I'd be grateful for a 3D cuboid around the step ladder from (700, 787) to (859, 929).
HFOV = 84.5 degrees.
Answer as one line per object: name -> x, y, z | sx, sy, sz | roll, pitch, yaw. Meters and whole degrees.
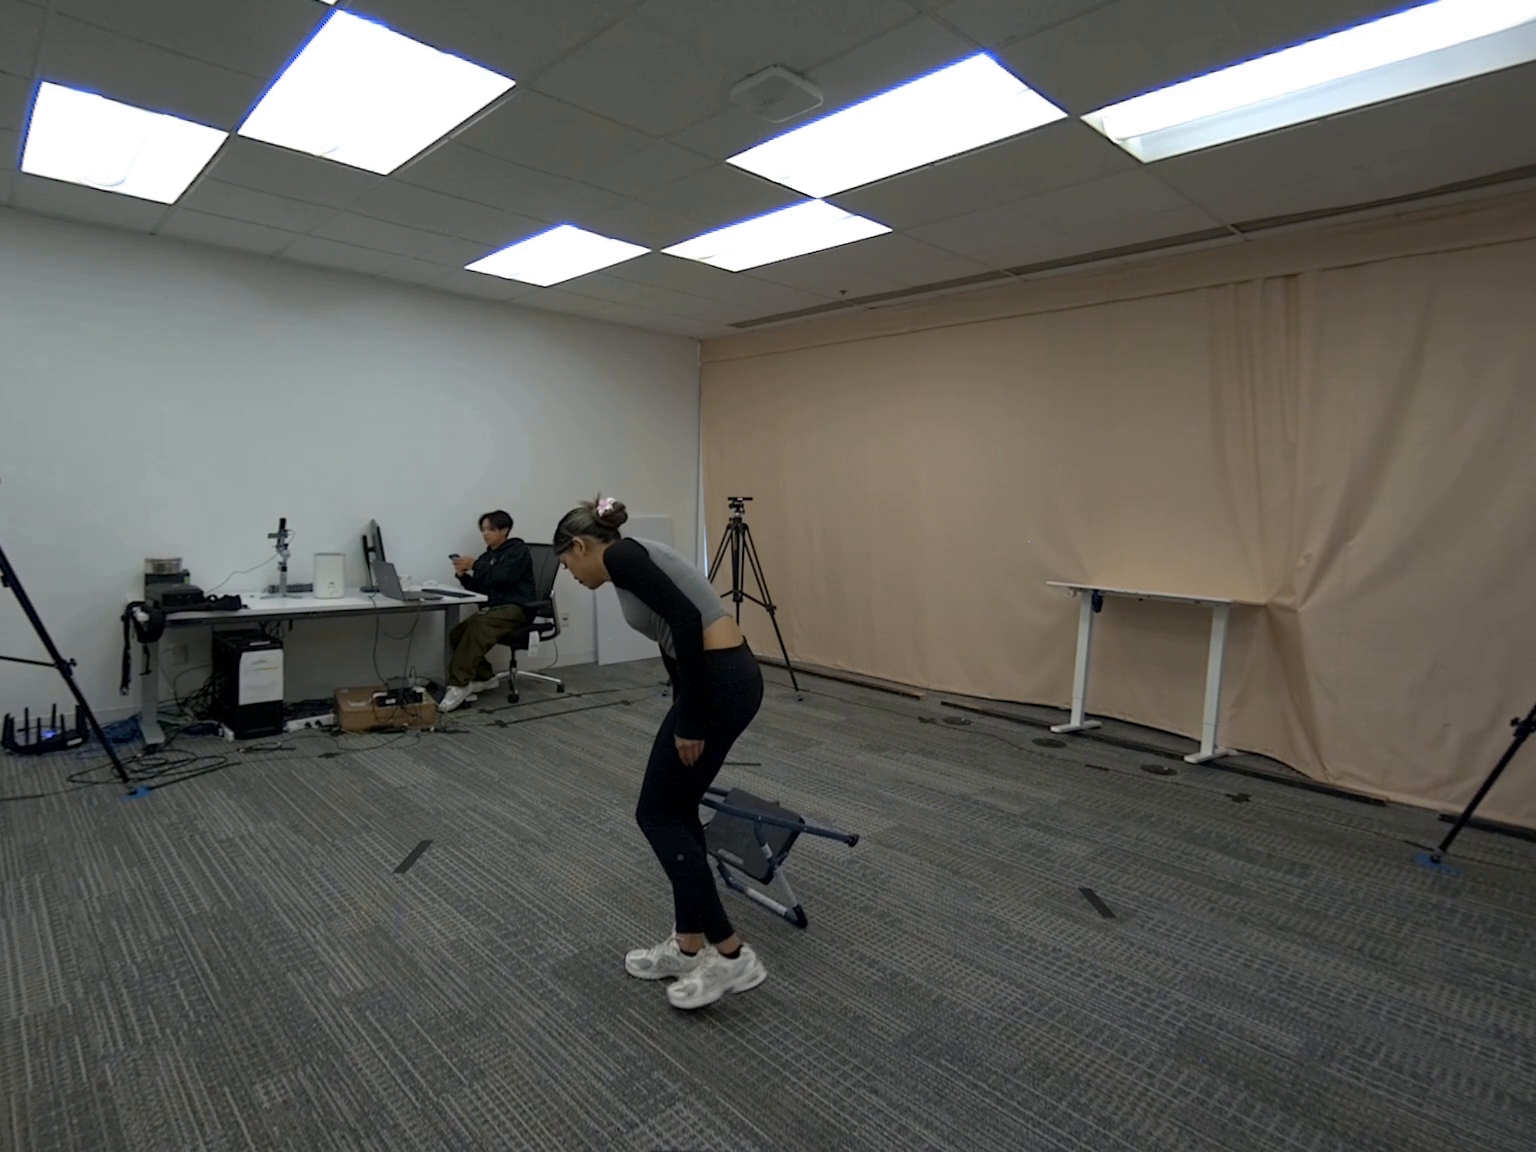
step ladder -> -0.082, 0.809, 2.812 | 0.441, 0.350, 0.589 | 5, -39, 49
